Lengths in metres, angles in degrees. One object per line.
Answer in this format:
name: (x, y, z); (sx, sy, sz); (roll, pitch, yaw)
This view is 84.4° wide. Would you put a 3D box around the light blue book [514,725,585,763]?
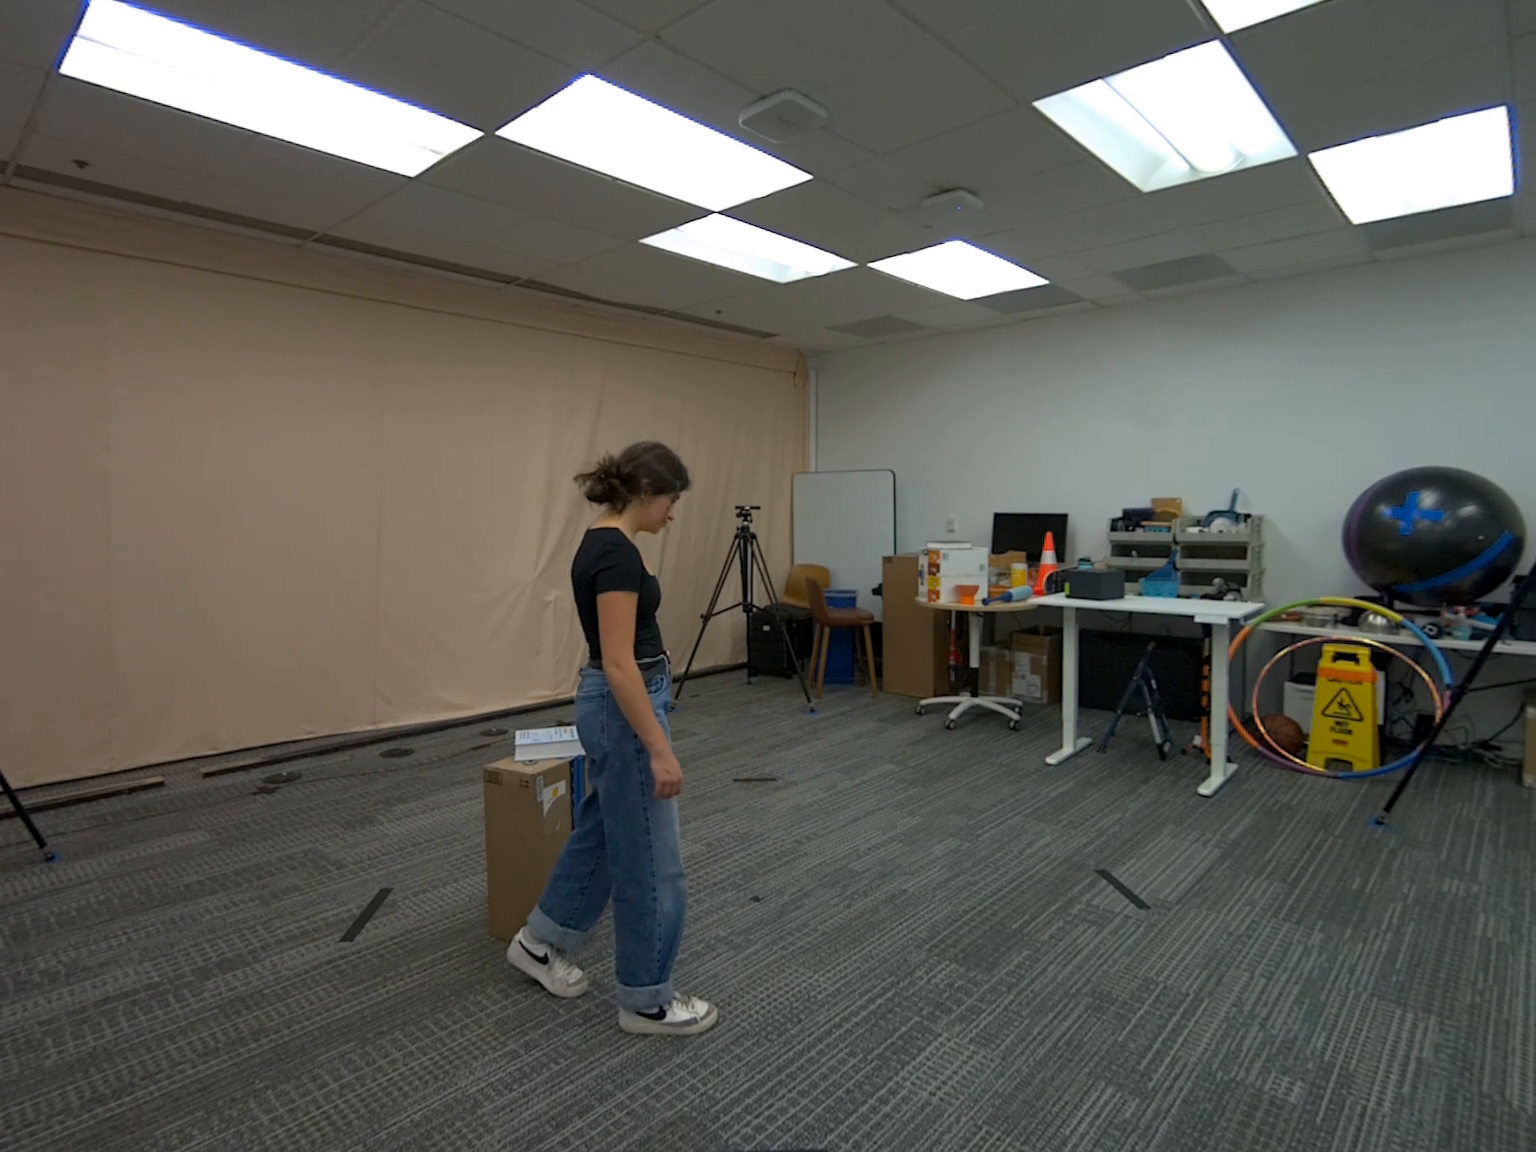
light blue book: (-0.735, 0.568, 2.872); (0.257, 0.059, 0.194); (-2, 4, -14)
